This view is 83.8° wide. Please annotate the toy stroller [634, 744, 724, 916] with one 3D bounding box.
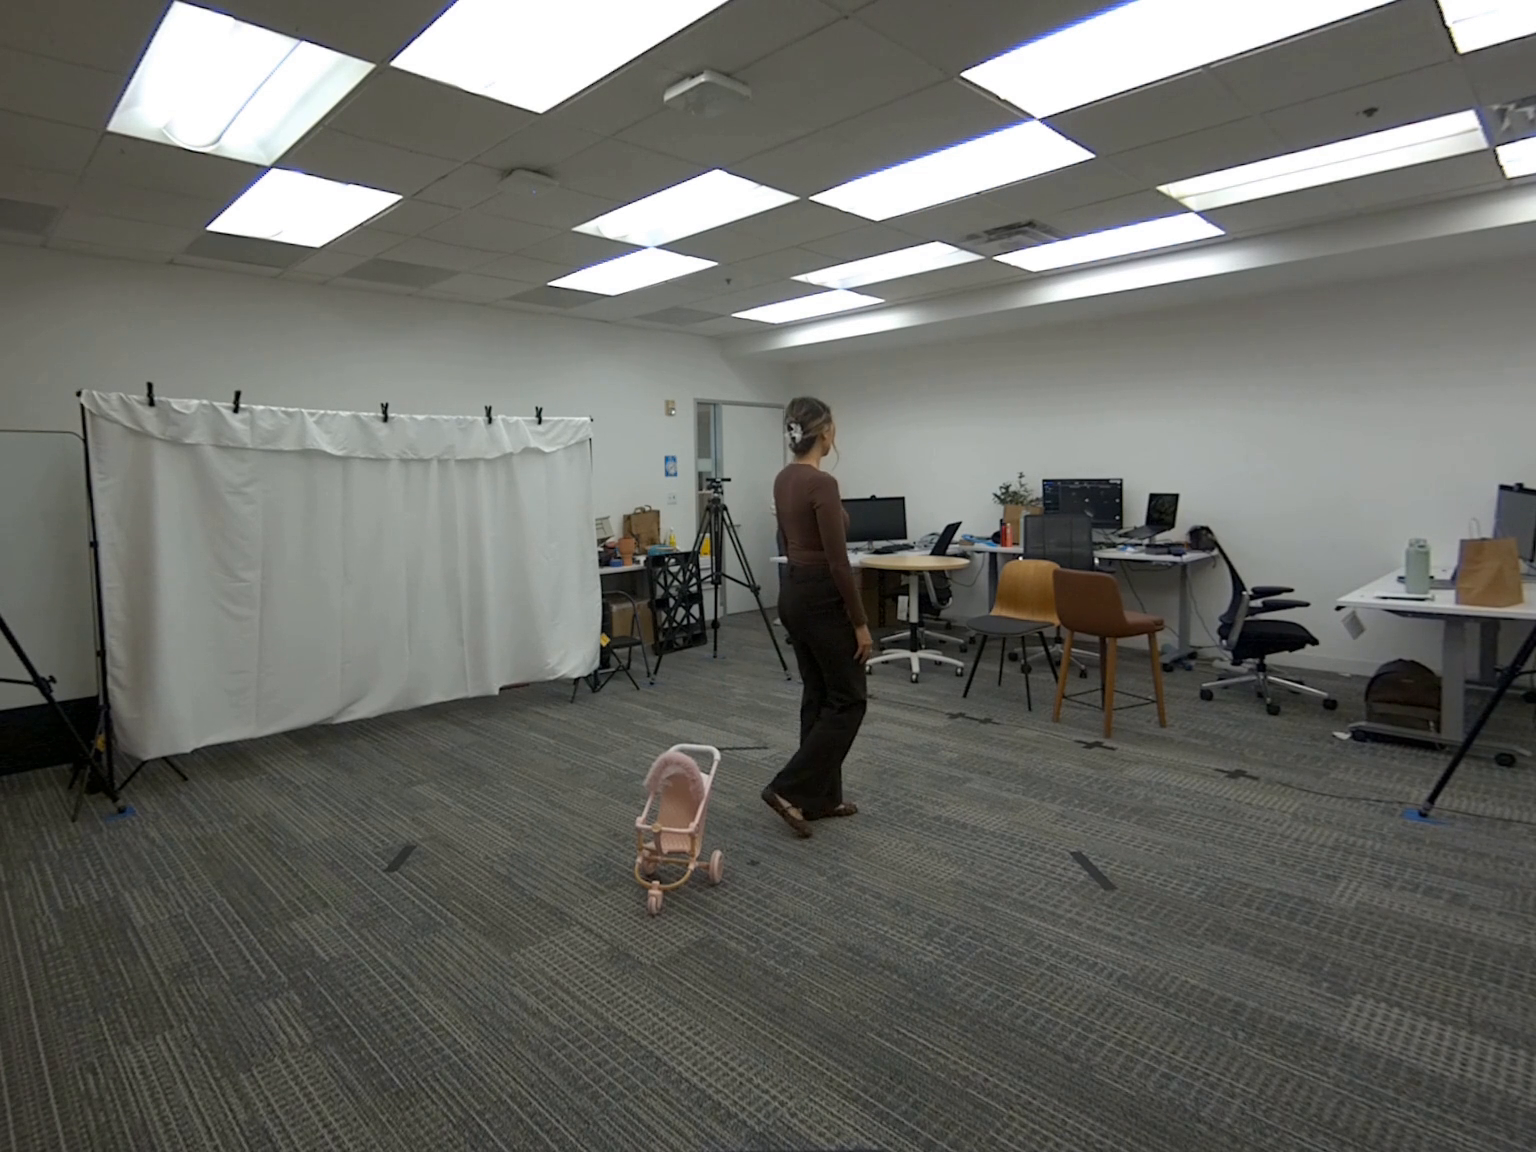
[{"bbox_3d":[-0.318,0.845,2.926,0.287,0.540,0.331,0,-13,20],"label":"toy stroller"}]
